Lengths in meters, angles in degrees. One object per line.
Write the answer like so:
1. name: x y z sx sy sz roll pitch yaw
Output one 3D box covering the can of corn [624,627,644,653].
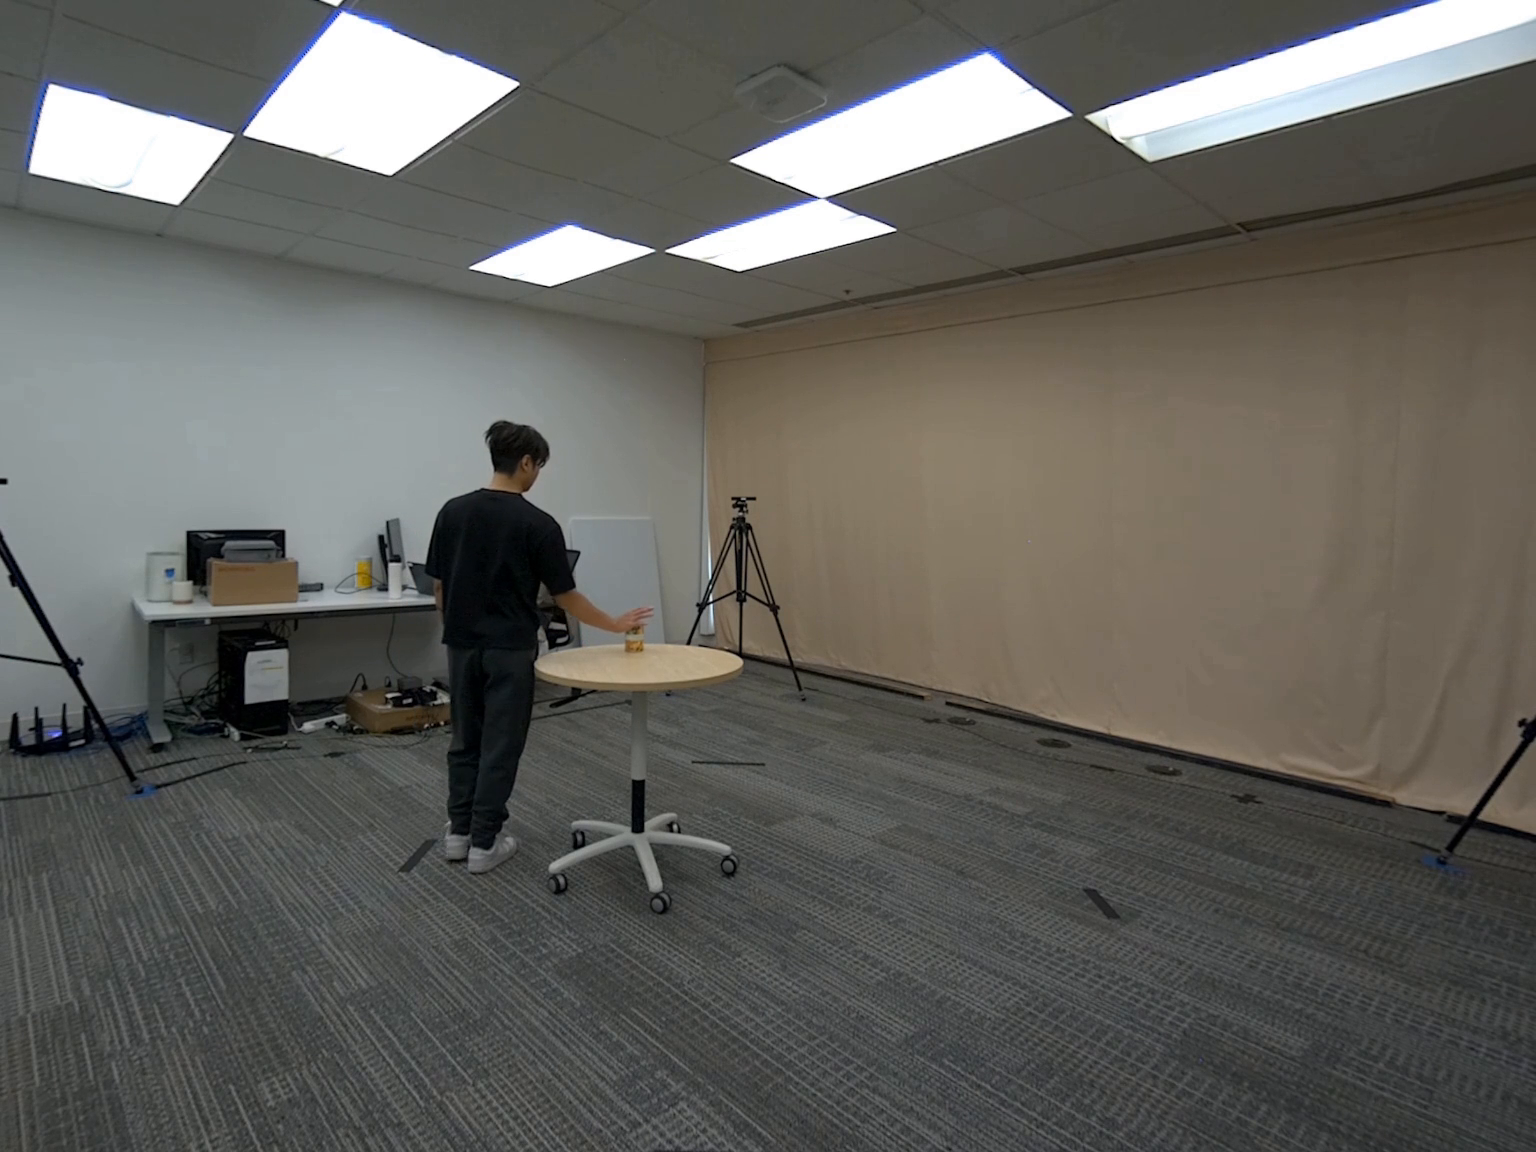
1. can of corn: -0.553 0.242 3.325 0.074 0.111 0.074 0 4 -1
